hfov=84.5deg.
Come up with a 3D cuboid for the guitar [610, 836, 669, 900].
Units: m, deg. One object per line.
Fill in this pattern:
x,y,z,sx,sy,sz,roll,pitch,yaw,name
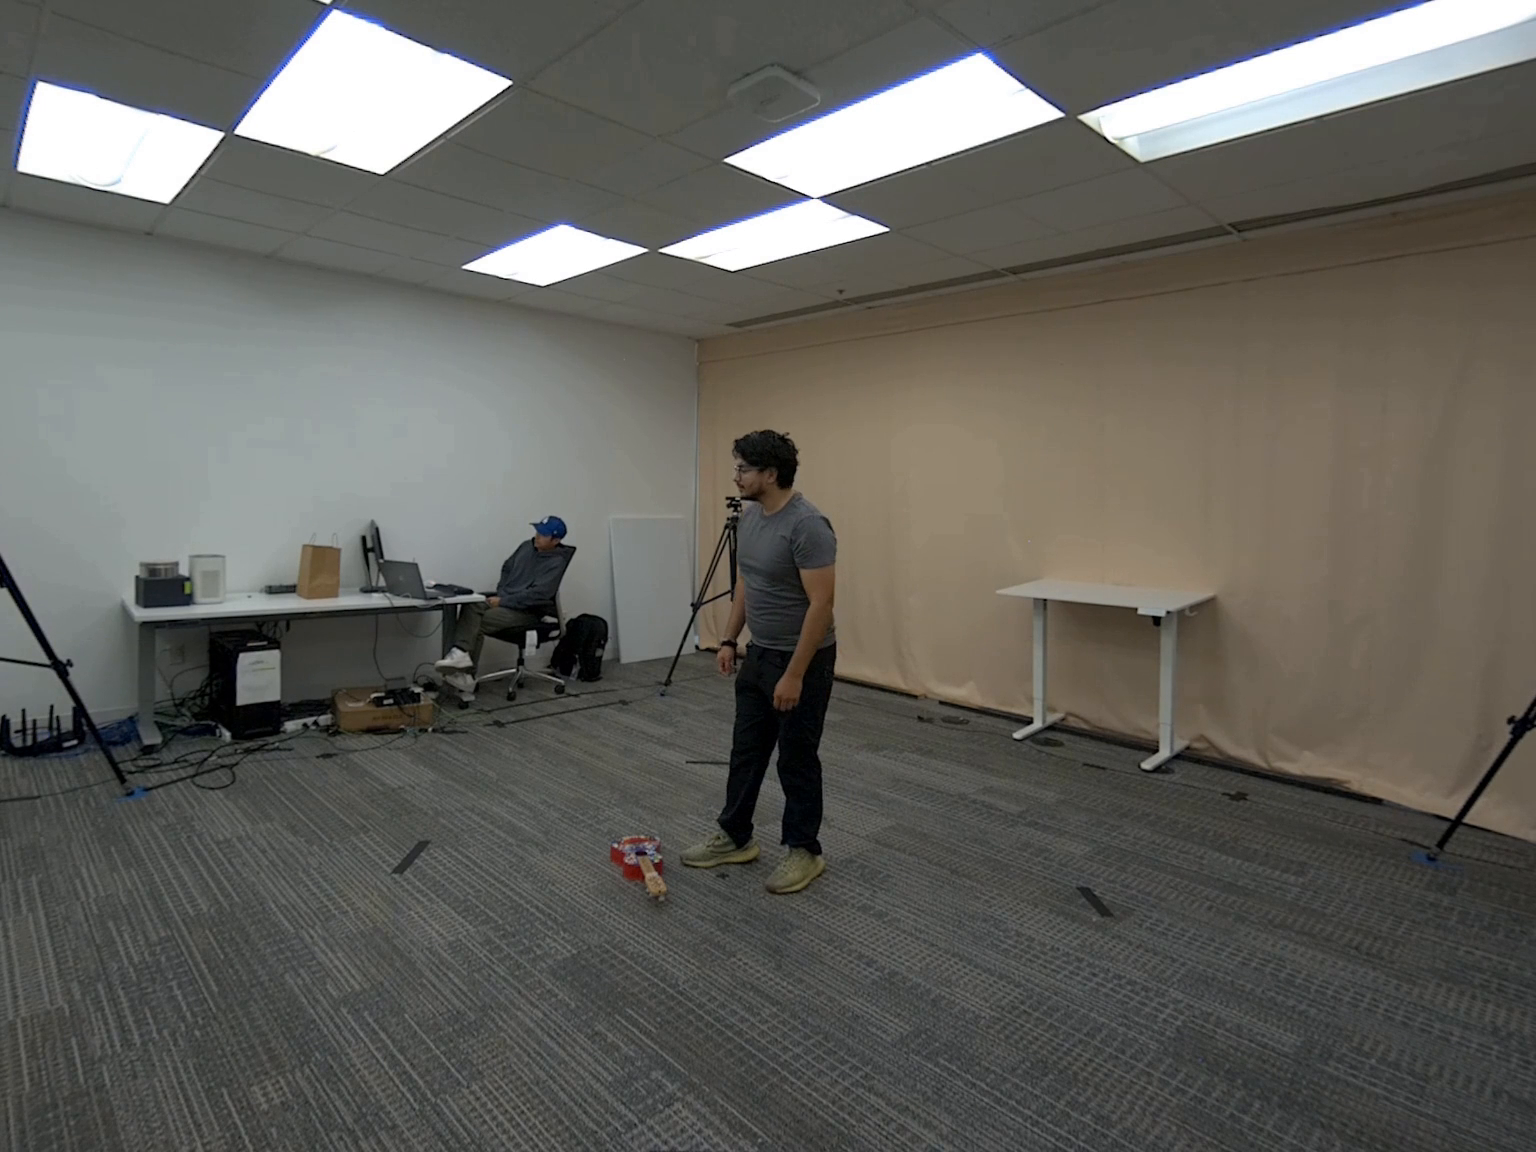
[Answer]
-0.480,1.066,3.066,0.191,0.070,0.503,0,5,-10,guitar
